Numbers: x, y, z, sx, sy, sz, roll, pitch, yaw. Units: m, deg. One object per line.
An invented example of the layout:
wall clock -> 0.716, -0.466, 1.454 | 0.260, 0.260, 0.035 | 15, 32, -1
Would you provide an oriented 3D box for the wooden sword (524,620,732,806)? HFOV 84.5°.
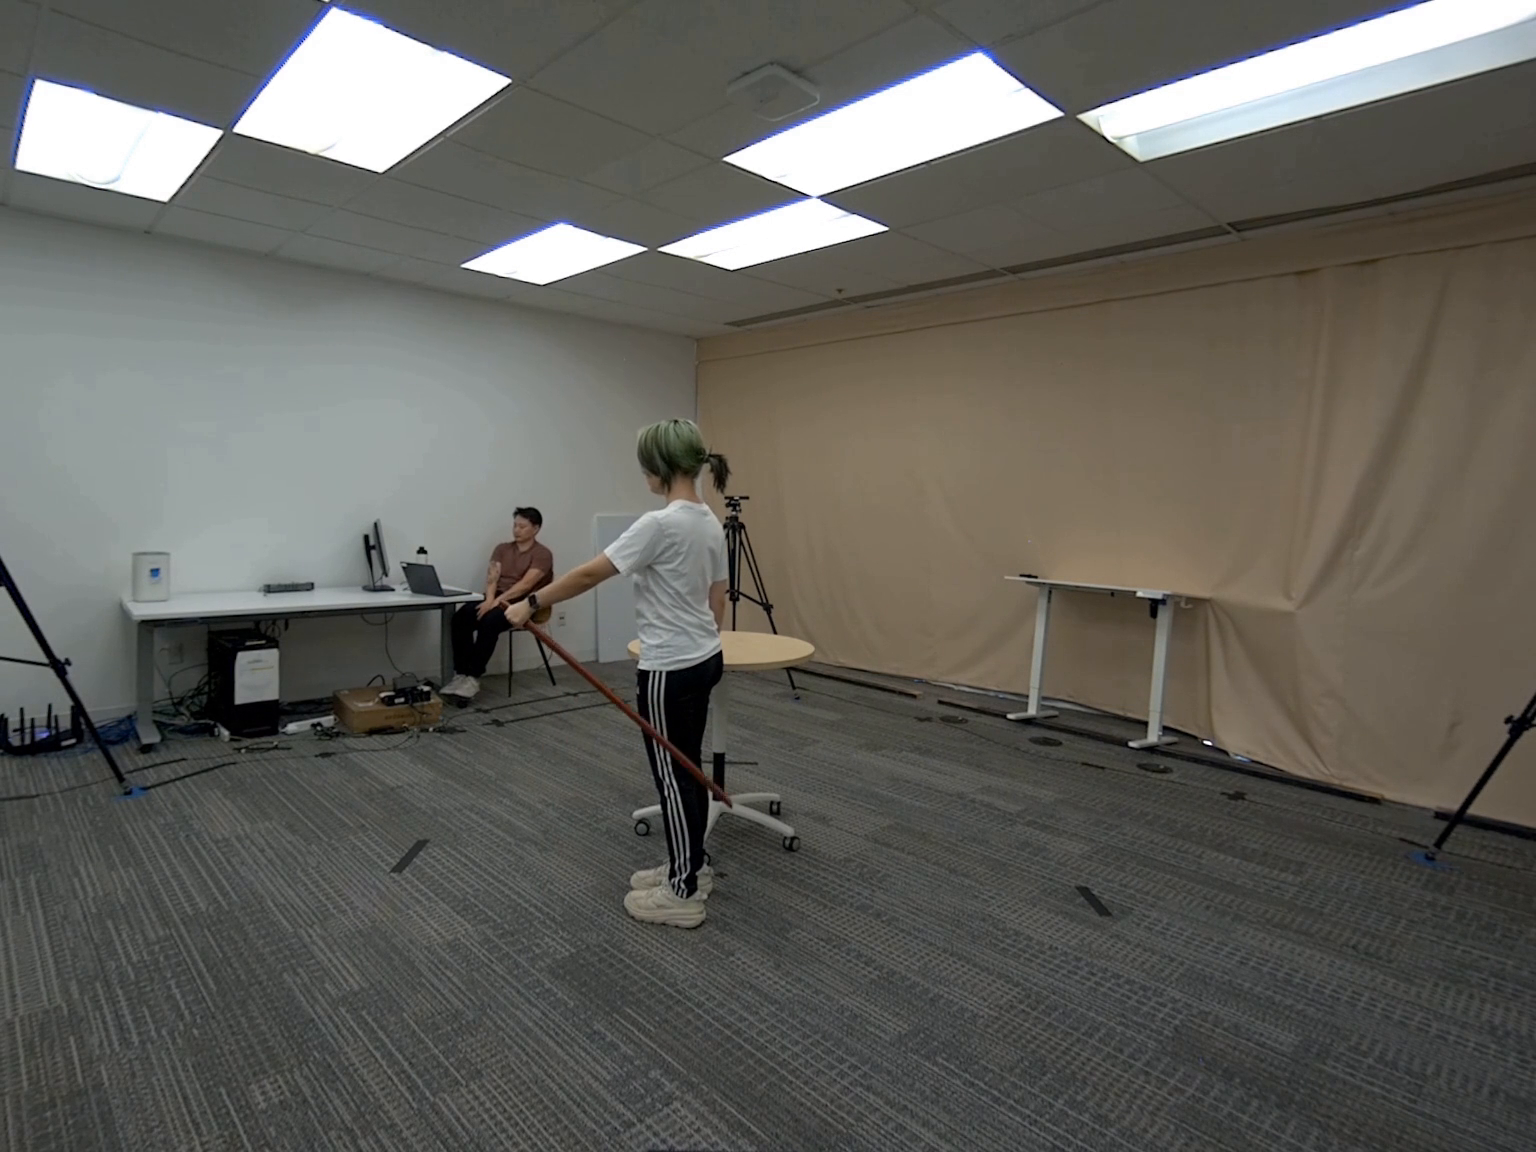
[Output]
wooden sword -> -0.503, 0.379, 2.622 | 1.048, 0.051, 0.024 | 36, 38, 22
